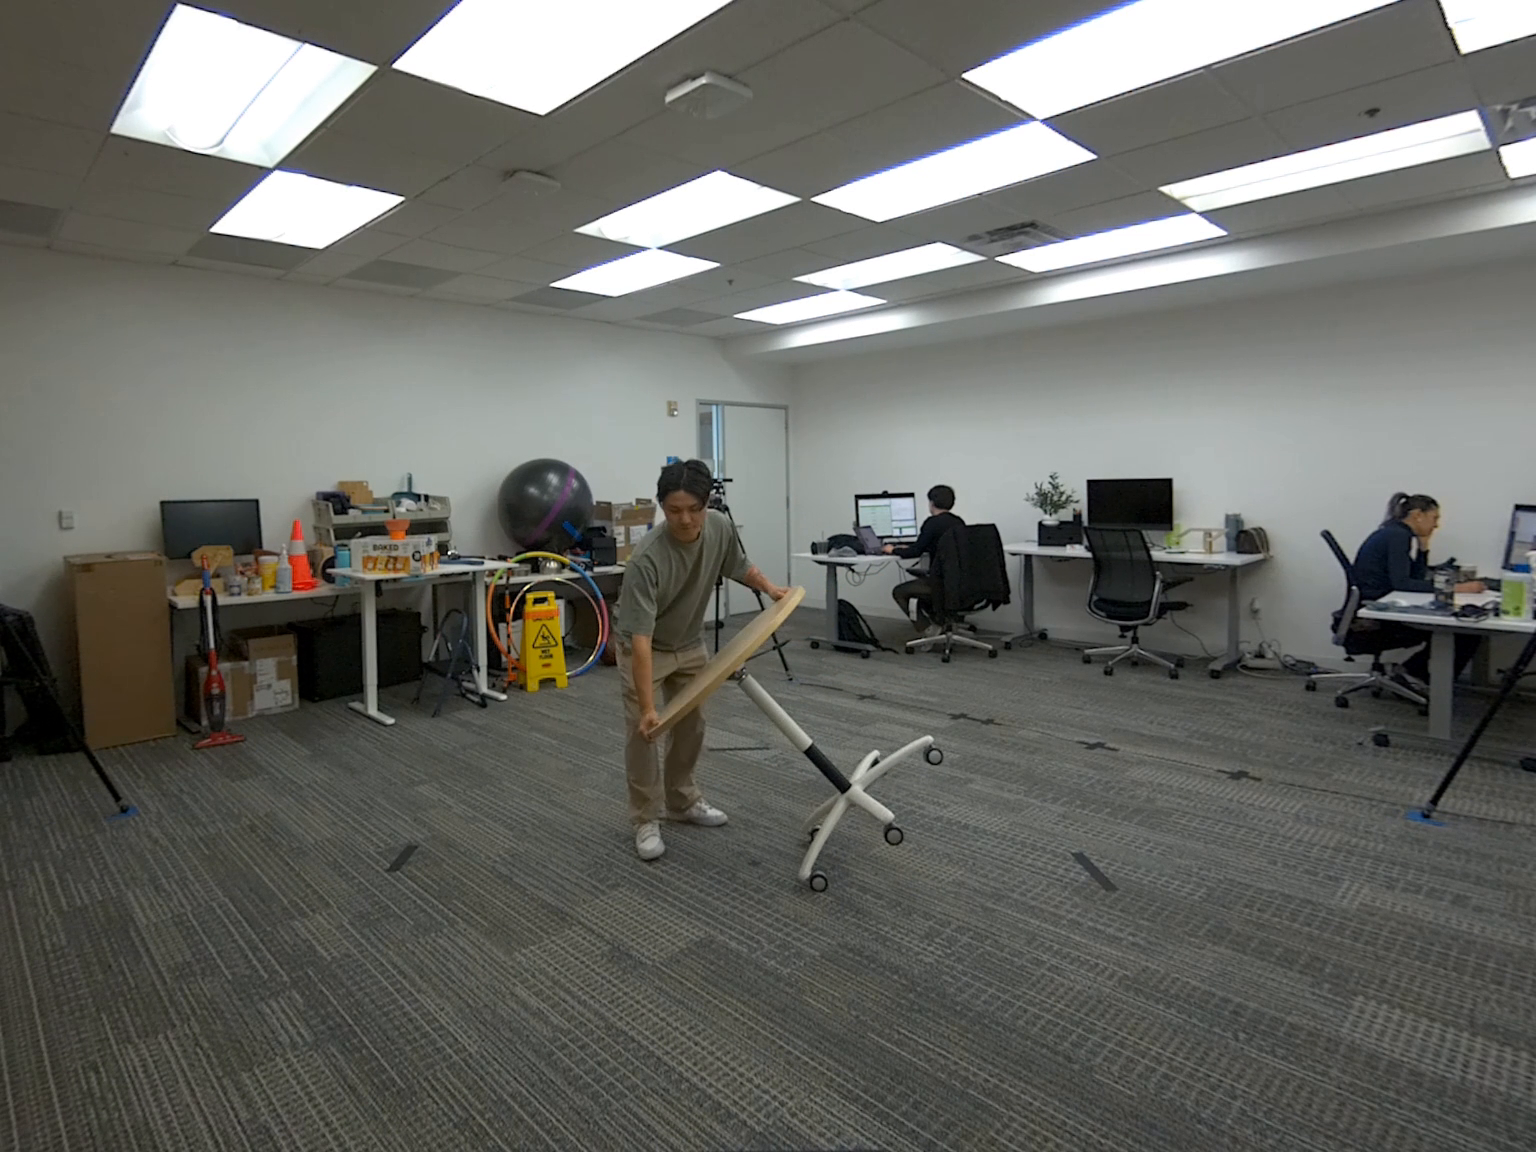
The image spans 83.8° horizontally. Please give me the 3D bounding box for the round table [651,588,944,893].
[{"bbox_3d":[0.121,0.573,3.065,0.785,0.787,0.785,-43,1,-2],"label":"round table"}]
